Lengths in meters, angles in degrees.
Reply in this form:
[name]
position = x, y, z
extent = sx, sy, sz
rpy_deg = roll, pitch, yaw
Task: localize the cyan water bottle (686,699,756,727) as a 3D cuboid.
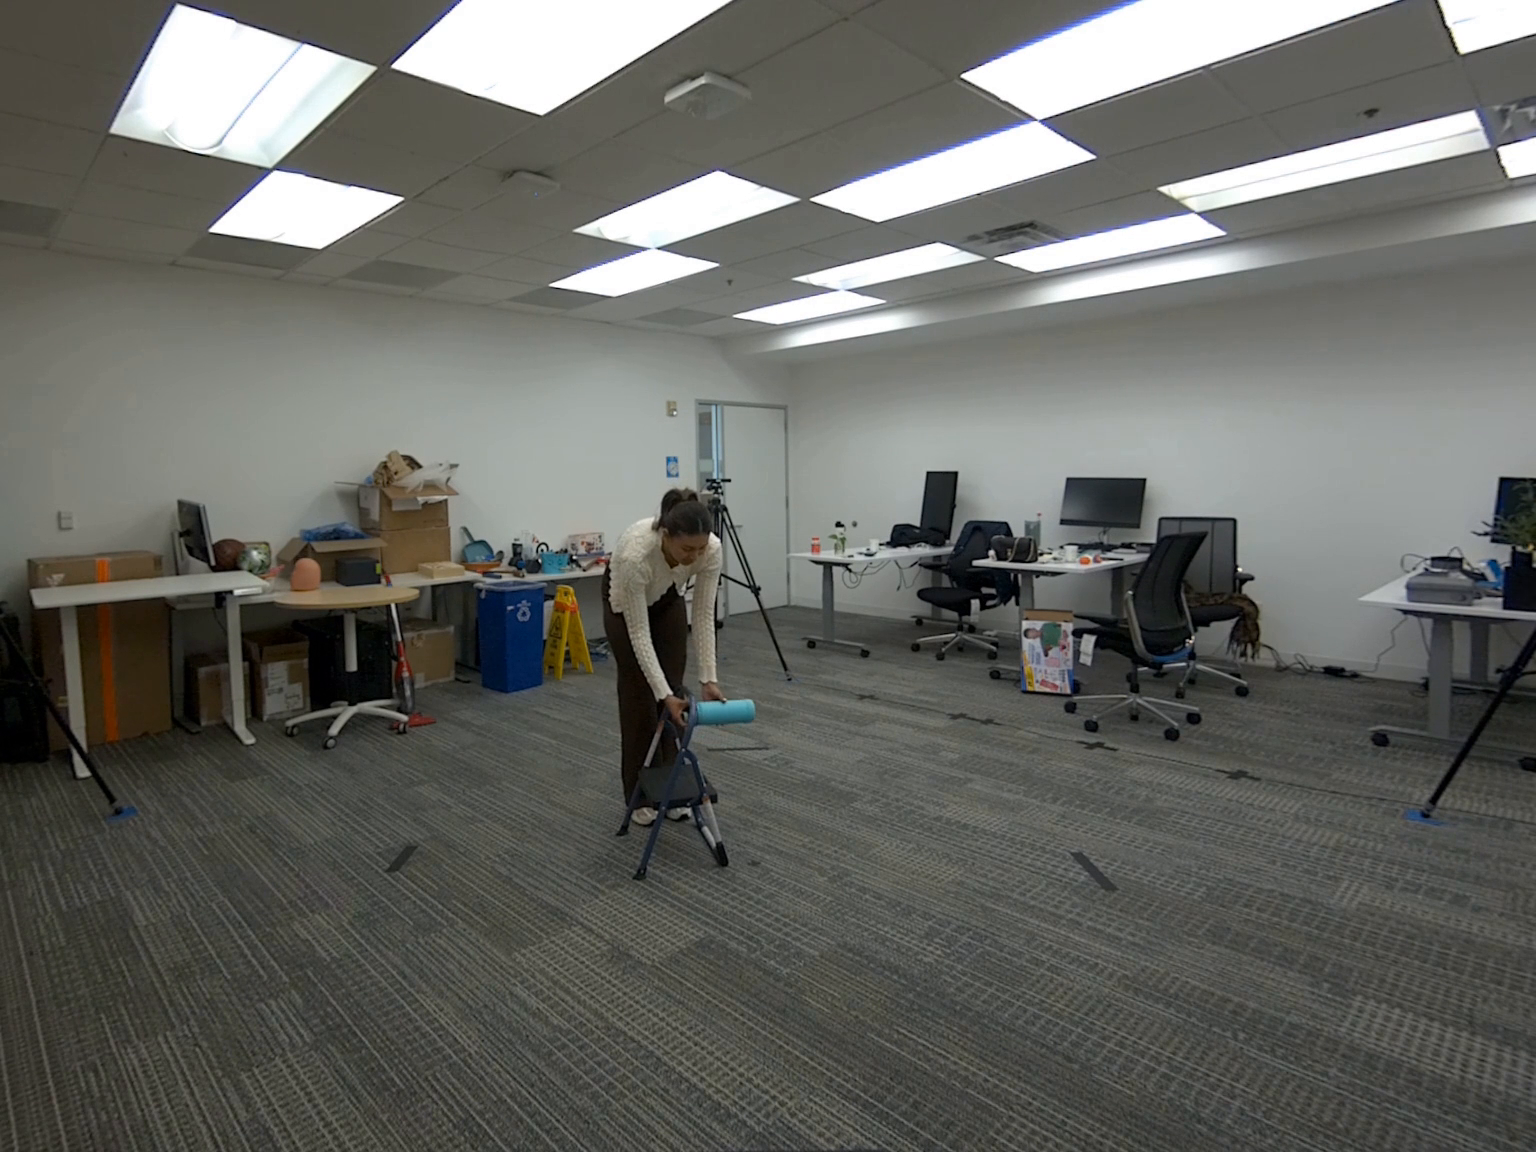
[cyan water bottle]
position = -0.195, 0.525, 3.295
extent = 0.279, 0.092, 0.094
rpy_deg = 0, 4, -16
